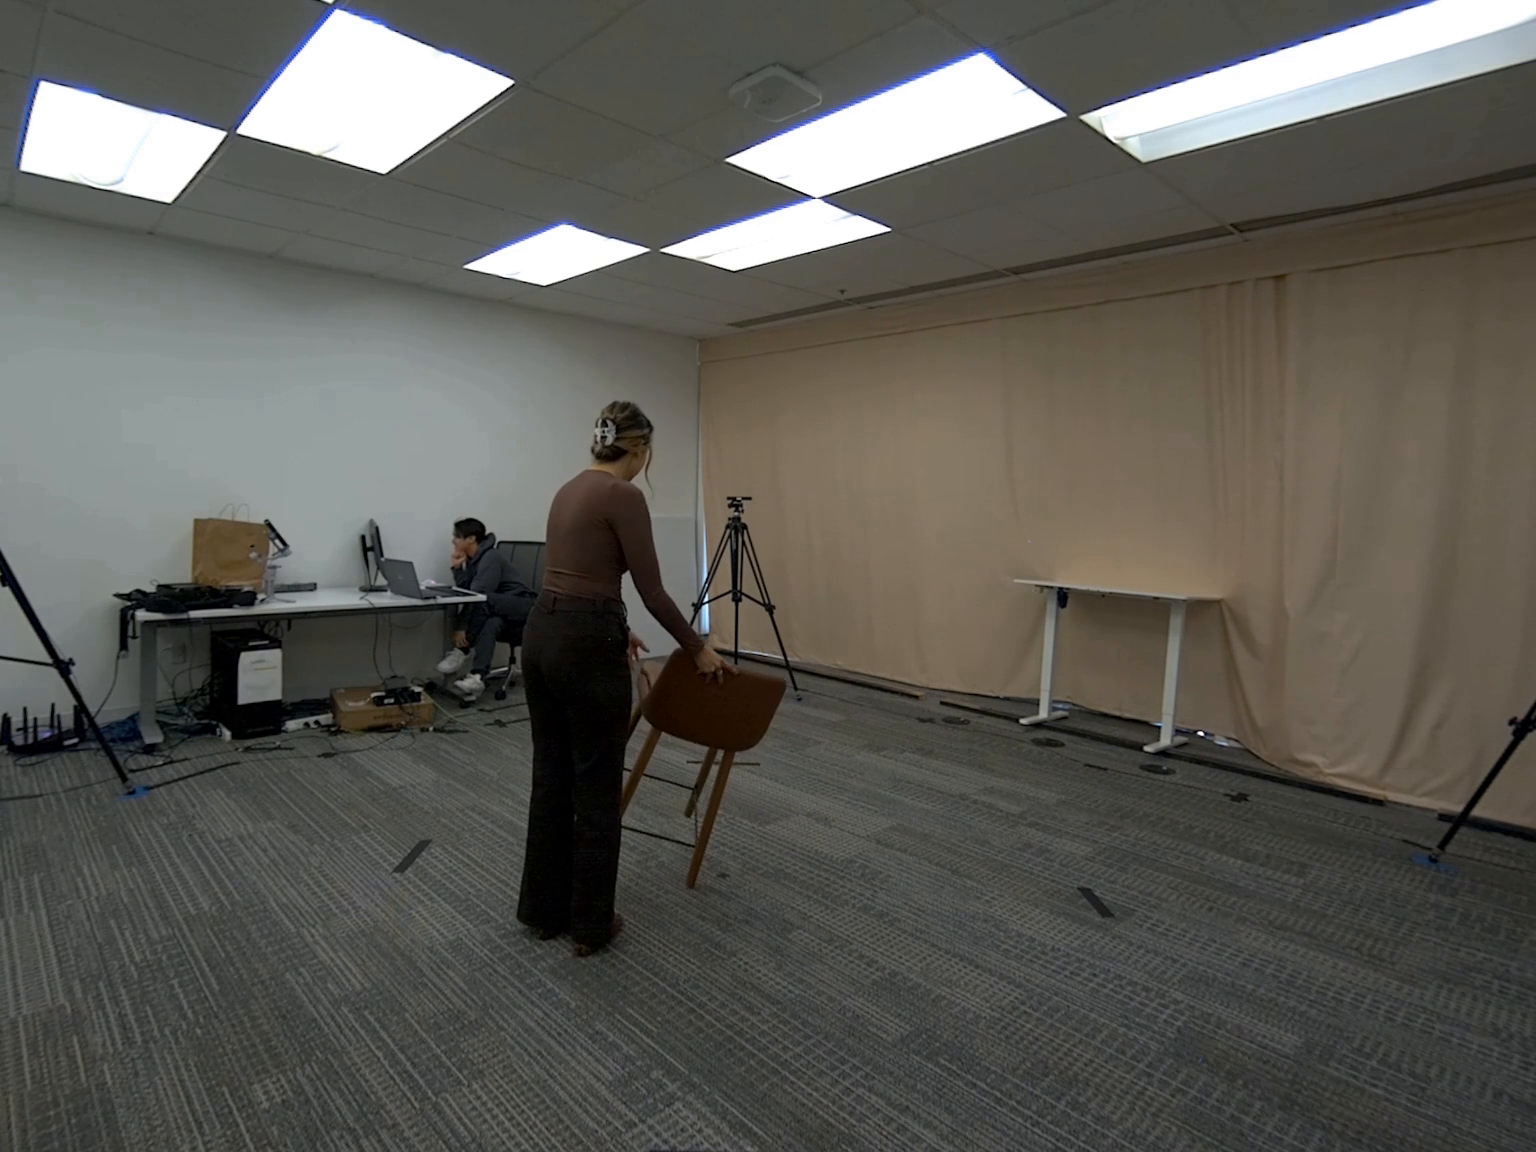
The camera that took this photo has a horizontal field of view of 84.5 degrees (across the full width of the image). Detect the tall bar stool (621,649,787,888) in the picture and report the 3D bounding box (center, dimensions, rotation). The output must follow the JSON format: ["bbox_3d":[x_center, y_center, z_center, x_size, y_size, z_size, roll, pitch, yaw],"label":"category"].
[{"bbox_3d":[-0.311,0.599,3.059,0.451,0.884,0.476,18,17,-13],"label":"tall bar stool"}]
